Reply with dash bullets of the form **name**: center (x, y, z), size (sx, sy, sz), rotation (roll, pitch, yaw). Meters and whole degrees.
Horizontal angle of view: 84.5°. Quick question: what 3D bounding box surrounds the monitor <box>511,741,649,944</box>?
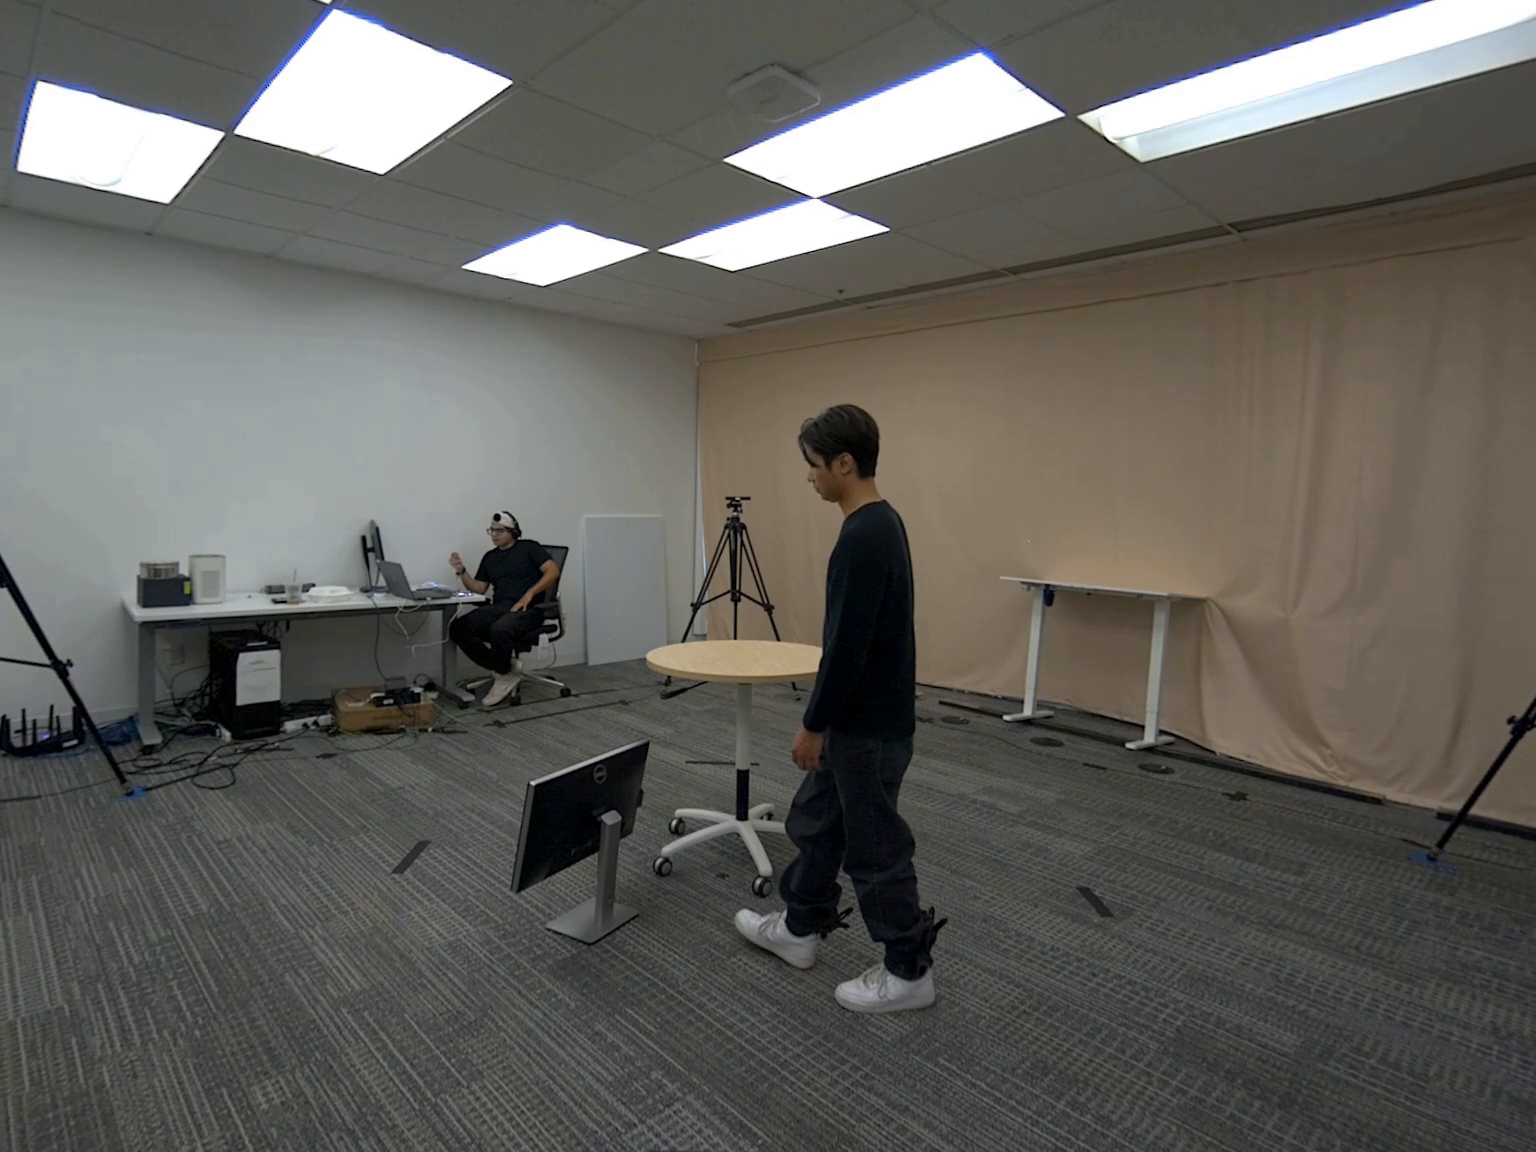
- **monitor**: center (-0.575, 0.866, 2.732), size (0.191, 0.521, 0.529), rotation (1, 3, 29)
